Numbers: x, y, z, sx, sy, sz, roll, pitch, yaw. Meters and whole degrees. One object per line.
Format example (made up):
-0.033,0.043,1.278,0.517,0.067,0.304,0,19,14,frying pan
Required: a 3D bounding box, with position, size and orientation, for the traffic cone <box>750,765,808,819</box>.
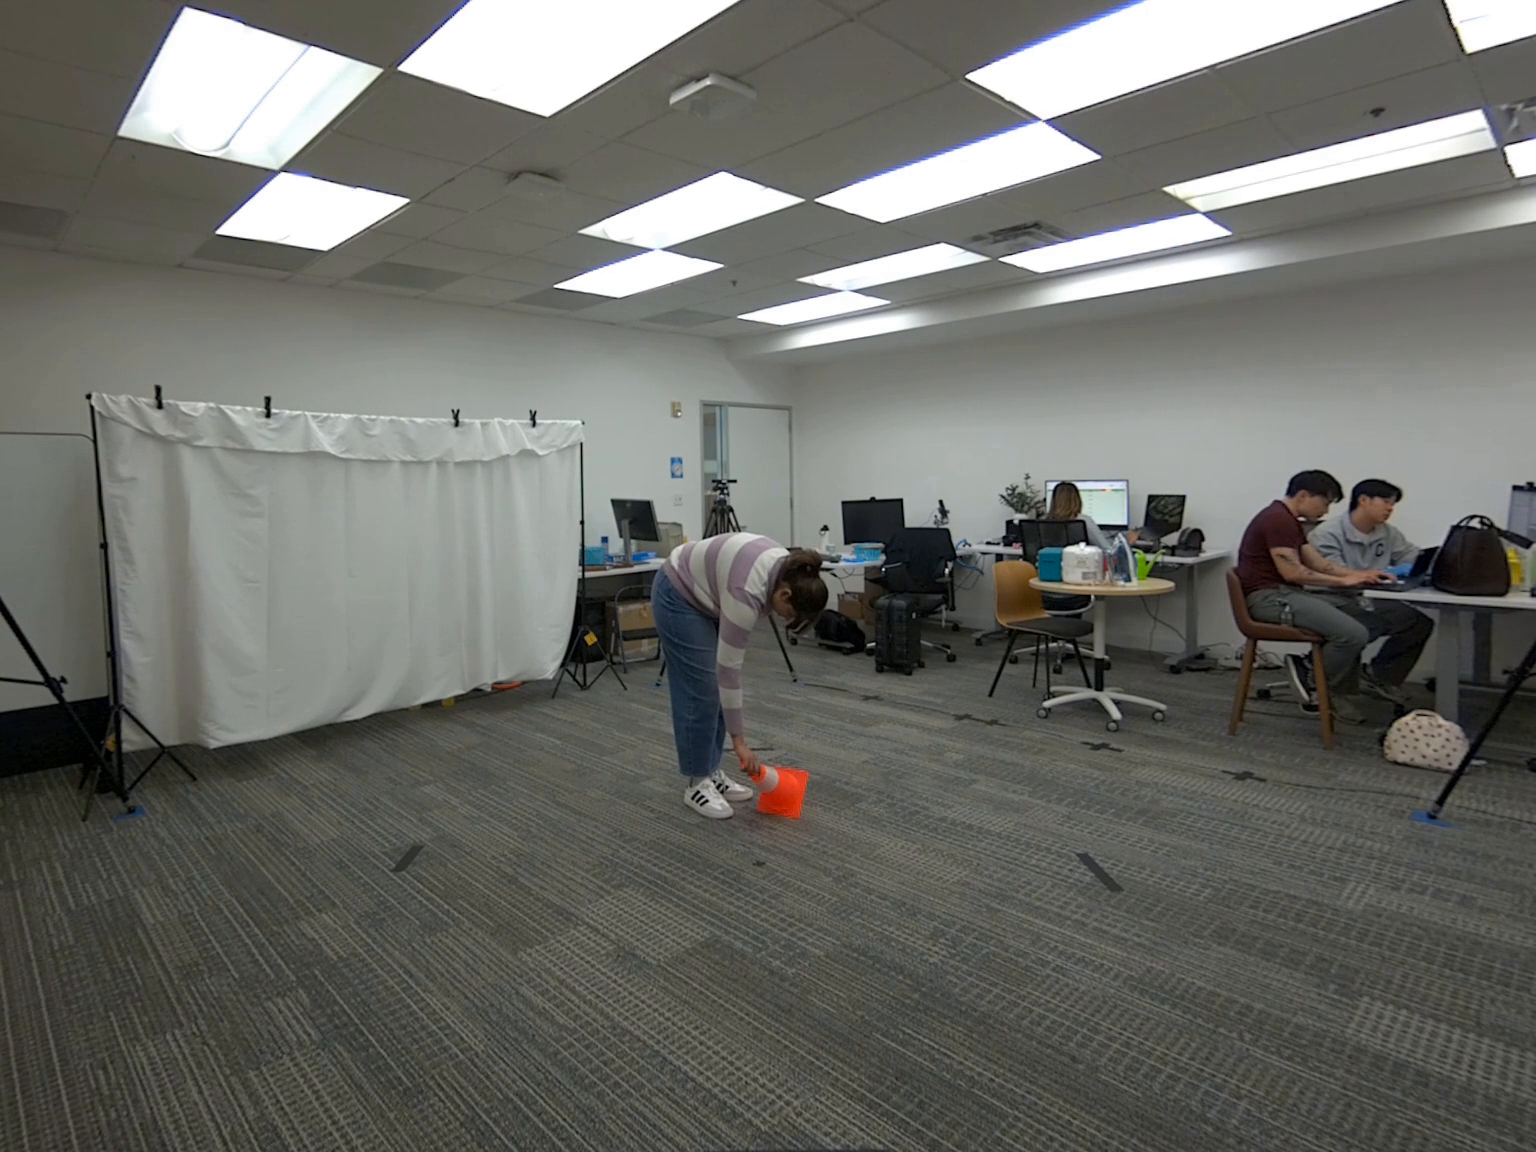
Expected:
-0.014,0.814,3.468,0.210,0.207,0.369,9,-26,34,traffic cone
